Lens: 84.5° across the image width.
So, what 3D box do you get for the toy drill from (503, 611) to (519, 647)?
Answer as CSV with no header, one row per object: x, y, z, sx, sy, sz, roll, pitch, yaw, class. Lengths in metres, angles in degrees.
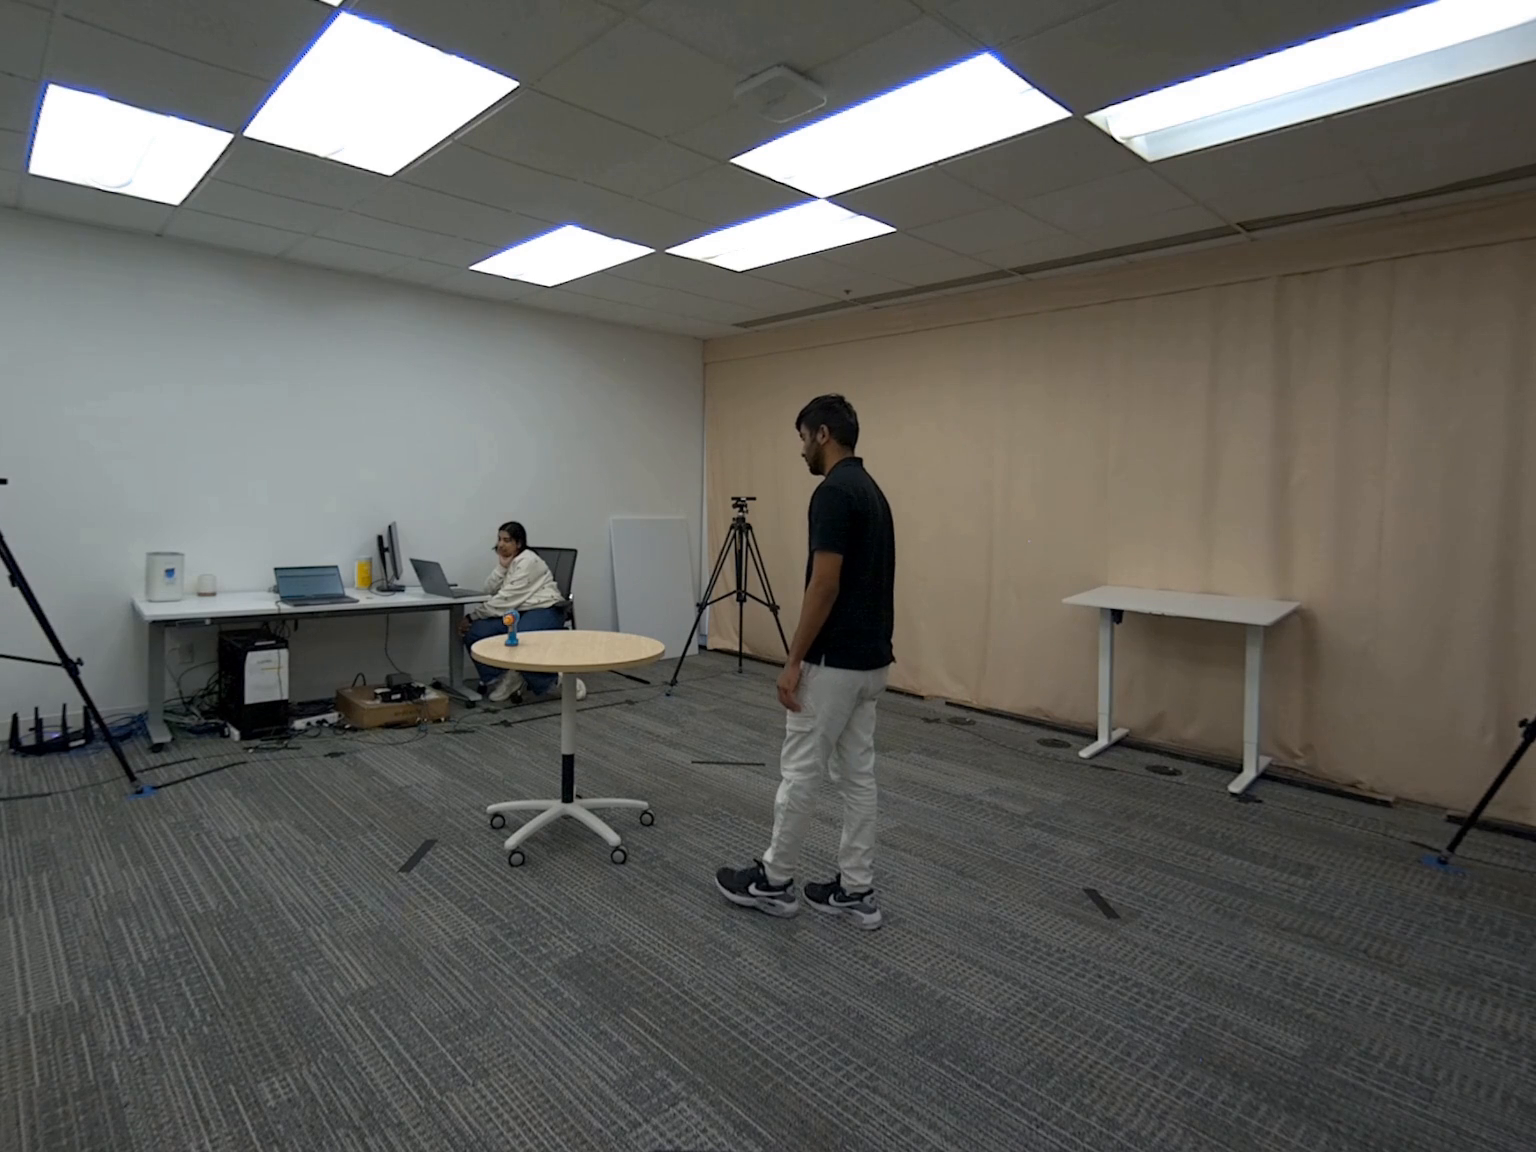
-1.039,0.210,3.332,0.061,0.145,0.170,3,4,-3,toy drill
